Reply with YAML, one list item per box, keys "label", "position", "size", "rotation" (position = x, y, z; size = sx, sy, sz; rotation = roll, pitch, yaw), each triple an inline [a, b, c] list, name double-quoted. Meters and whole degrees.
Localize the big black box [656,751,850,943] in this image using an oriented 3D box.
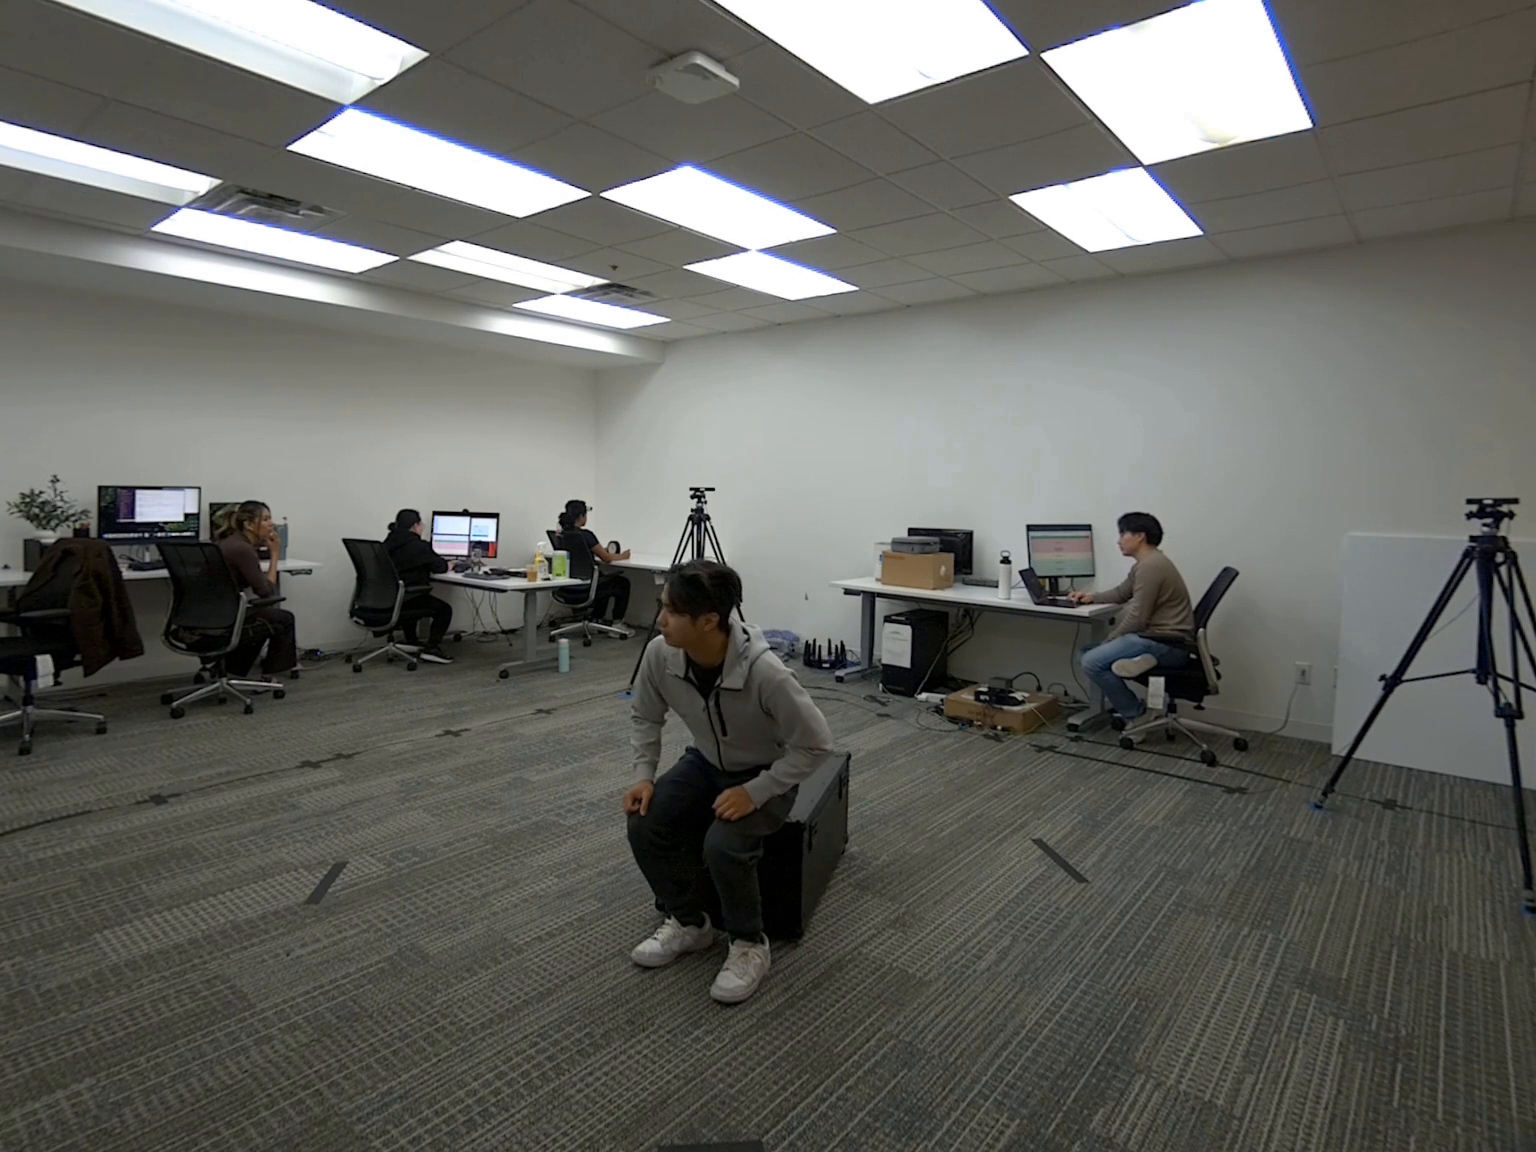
- label: "big black box"
  position: [-0.041, 0.891, 2.994]
  size: [0.531, 0.395, 0.847]
  rotation: [2, 4, 17]
